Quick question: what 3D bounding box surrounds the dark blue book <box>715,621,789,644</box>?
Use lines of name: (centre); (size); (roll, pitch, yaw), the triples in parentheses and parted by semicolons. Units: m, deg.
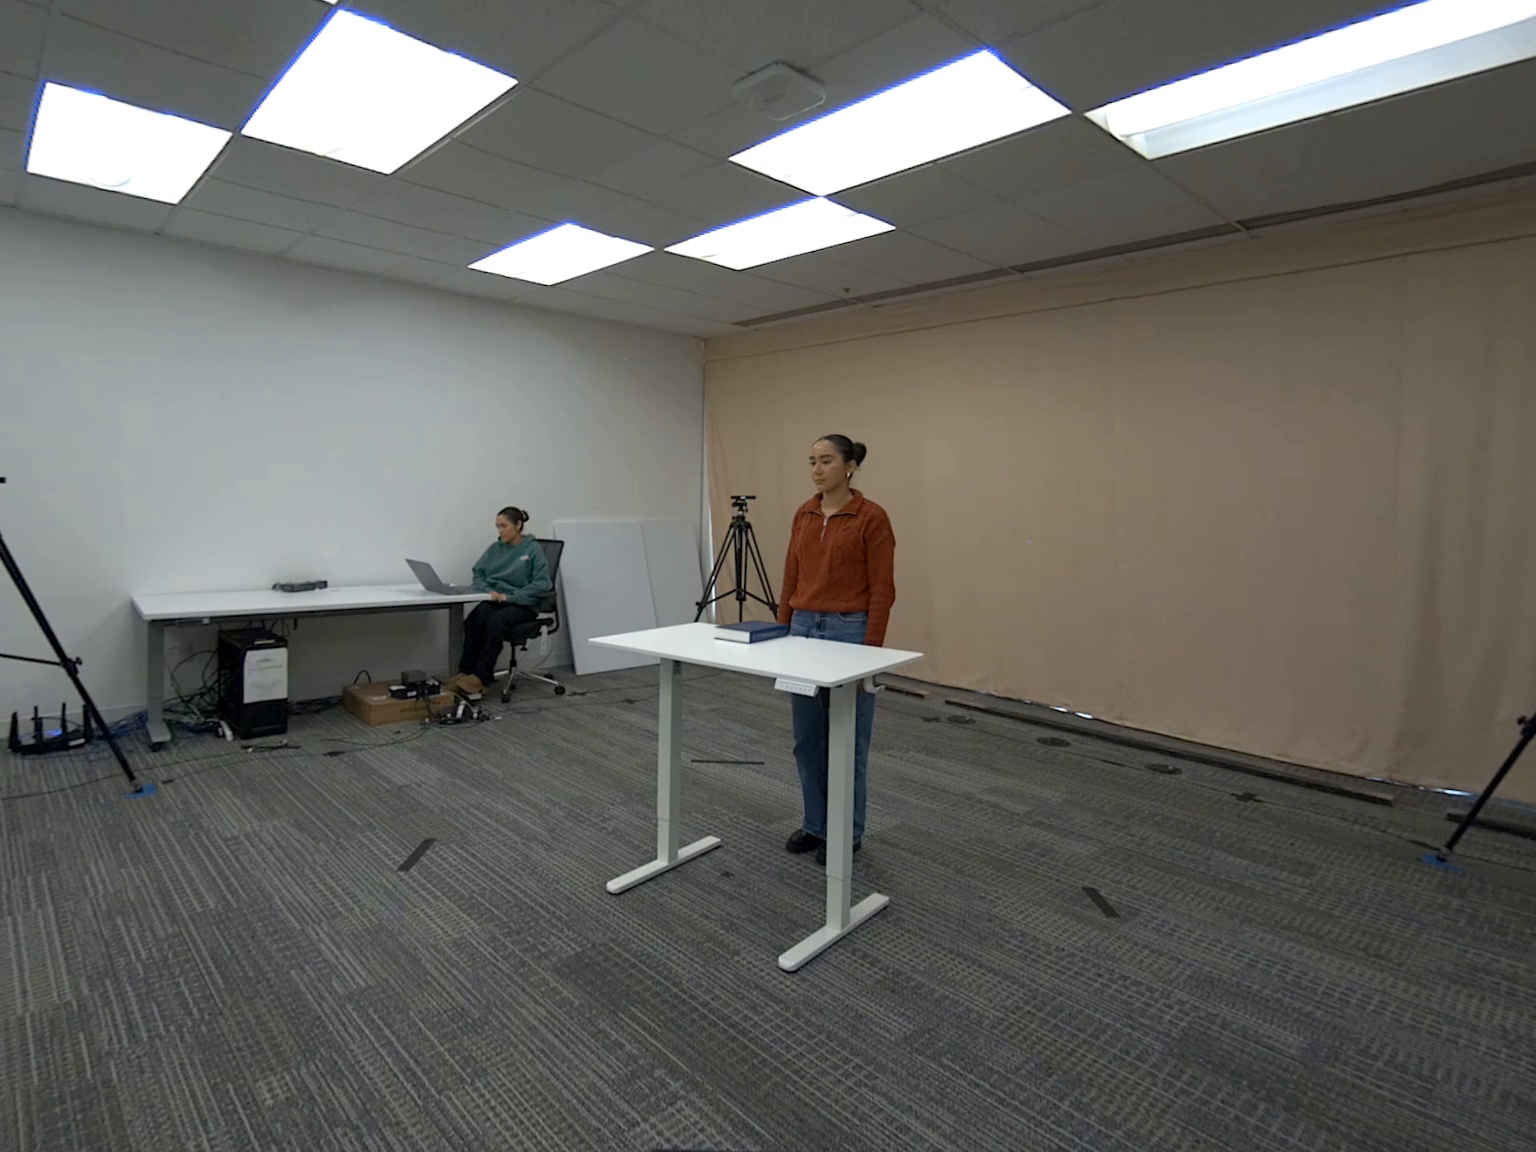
dark blue book: (-0.069, 0.205, 3.082); (0.167, 0.045, 0.240); (5, 6, 35)
